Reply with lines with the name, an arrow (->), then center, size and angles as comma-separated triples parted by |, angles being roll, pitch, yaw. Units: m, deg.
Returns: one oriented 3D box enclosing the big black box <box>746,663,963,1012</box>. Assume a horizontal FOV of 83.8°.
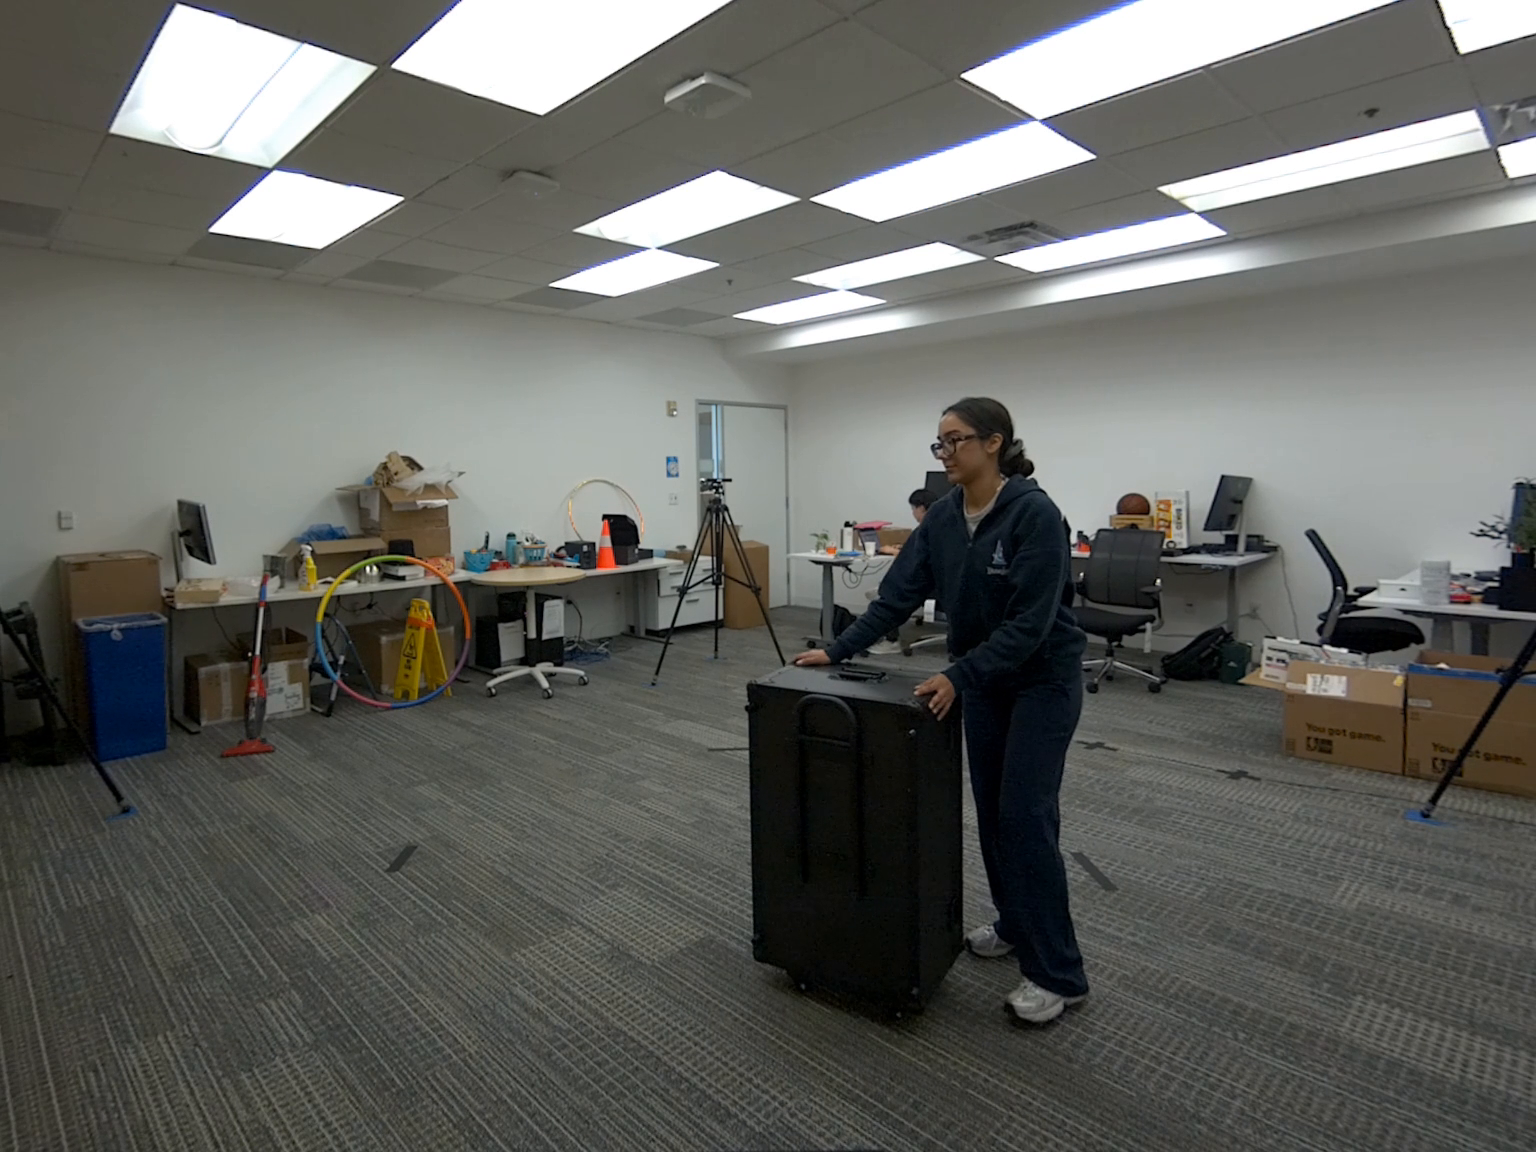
big black box -> 0.247, 0.702, 2.337 | 0.535, 0.858, 0.387 | 2, 6, 32
